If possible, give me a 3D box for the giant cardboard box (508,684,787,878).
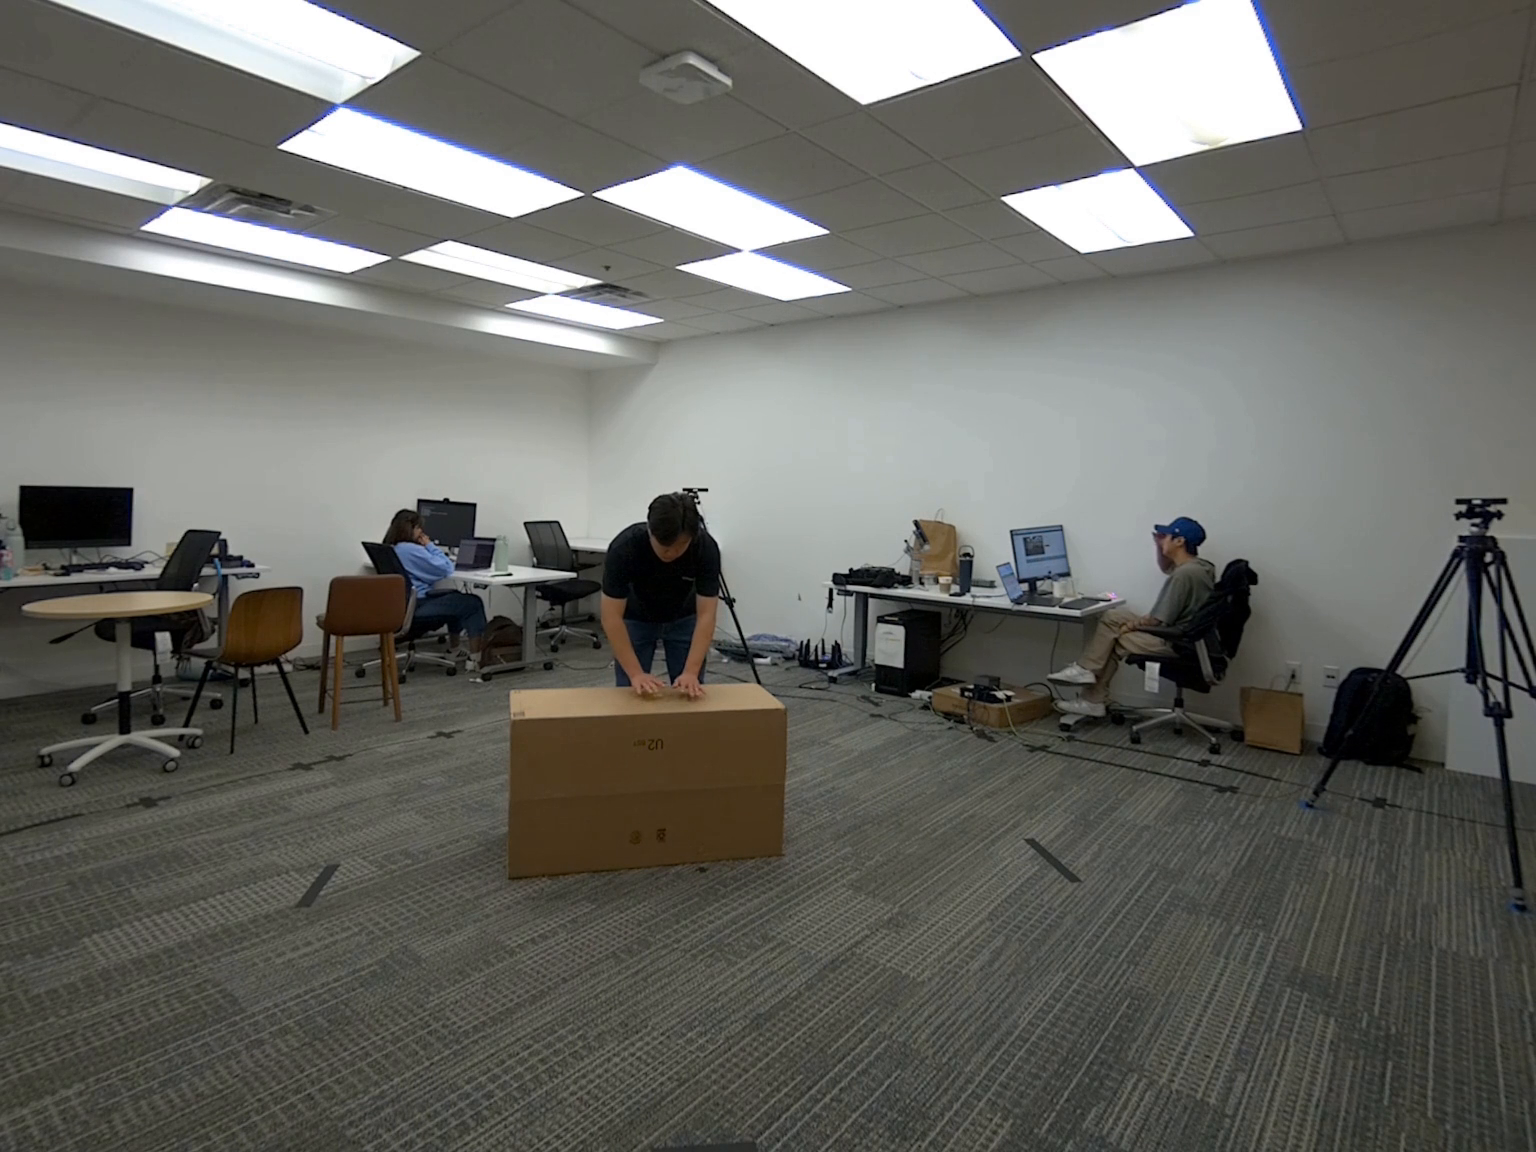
[{"bbox_3d":[-0.492,0.756,3.306,1.011,0.583,0.455,0,3,-15],"label":"giant cardboard box"}]
